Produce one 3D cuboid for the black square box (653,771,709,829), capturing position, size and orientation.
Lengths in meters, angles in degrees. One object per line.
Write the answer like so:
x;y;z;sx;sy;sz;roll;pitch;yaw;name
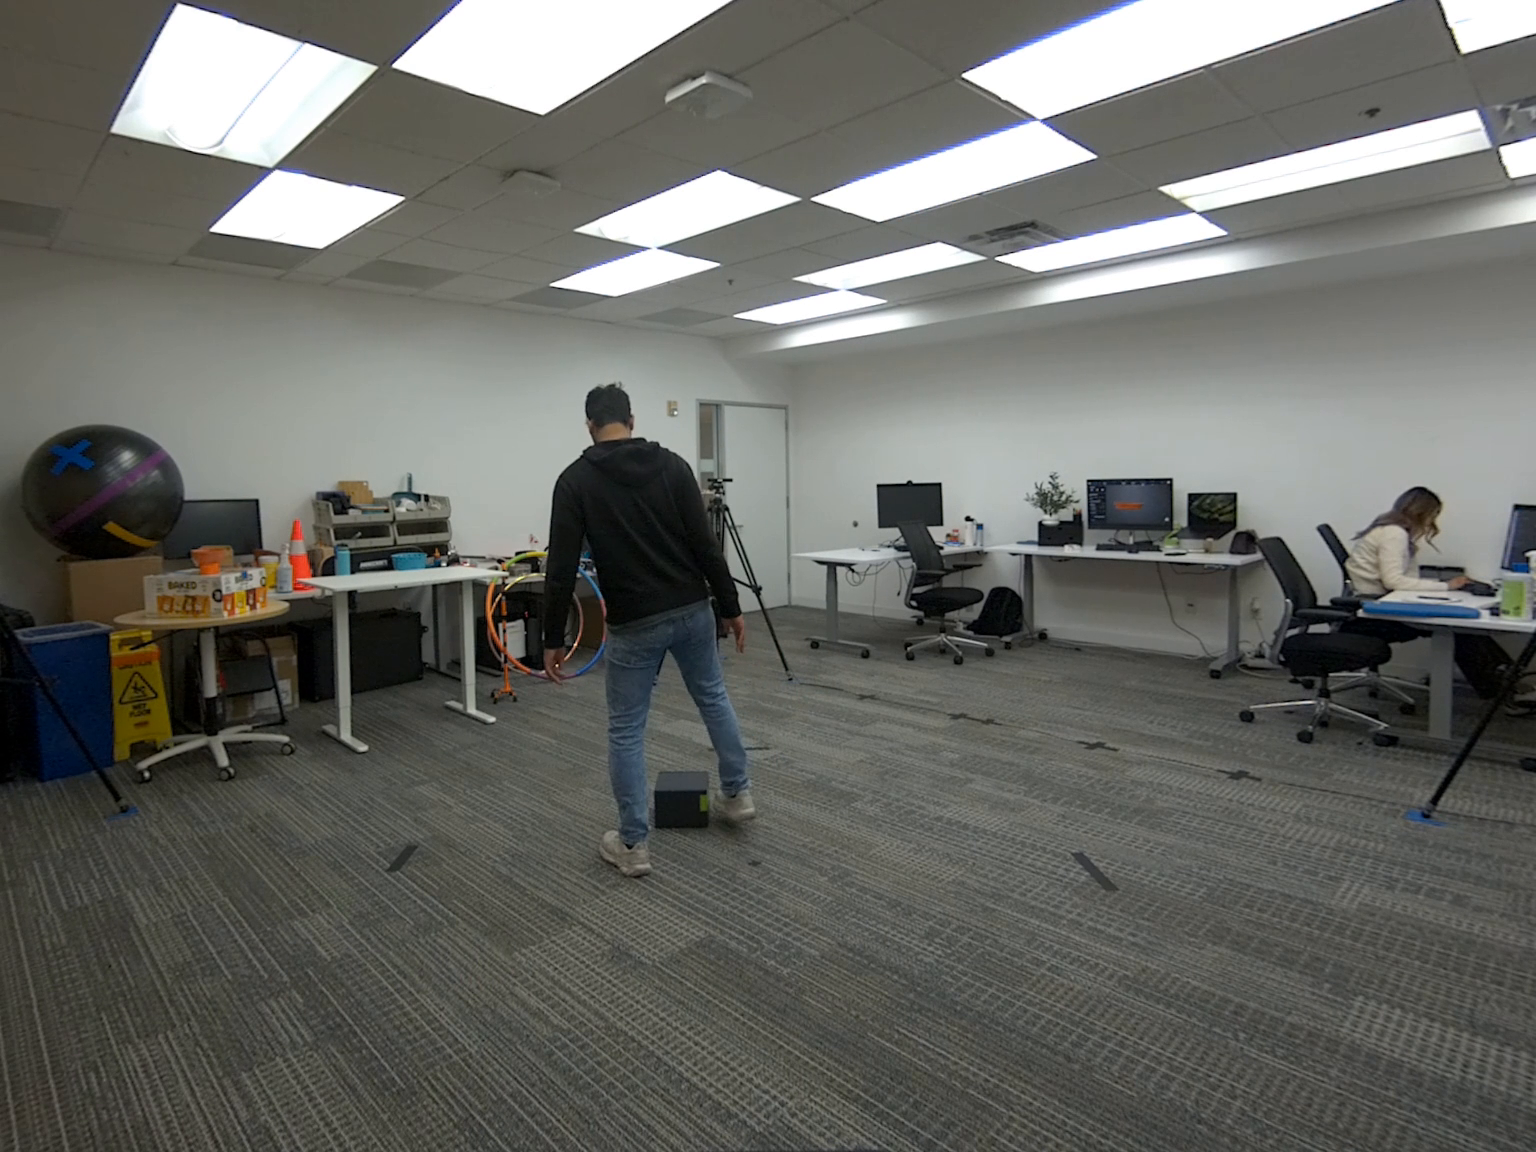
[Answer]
-0.343;0.917;3.538;0.217;0.155;0.229;-1;6;-1;black square box
